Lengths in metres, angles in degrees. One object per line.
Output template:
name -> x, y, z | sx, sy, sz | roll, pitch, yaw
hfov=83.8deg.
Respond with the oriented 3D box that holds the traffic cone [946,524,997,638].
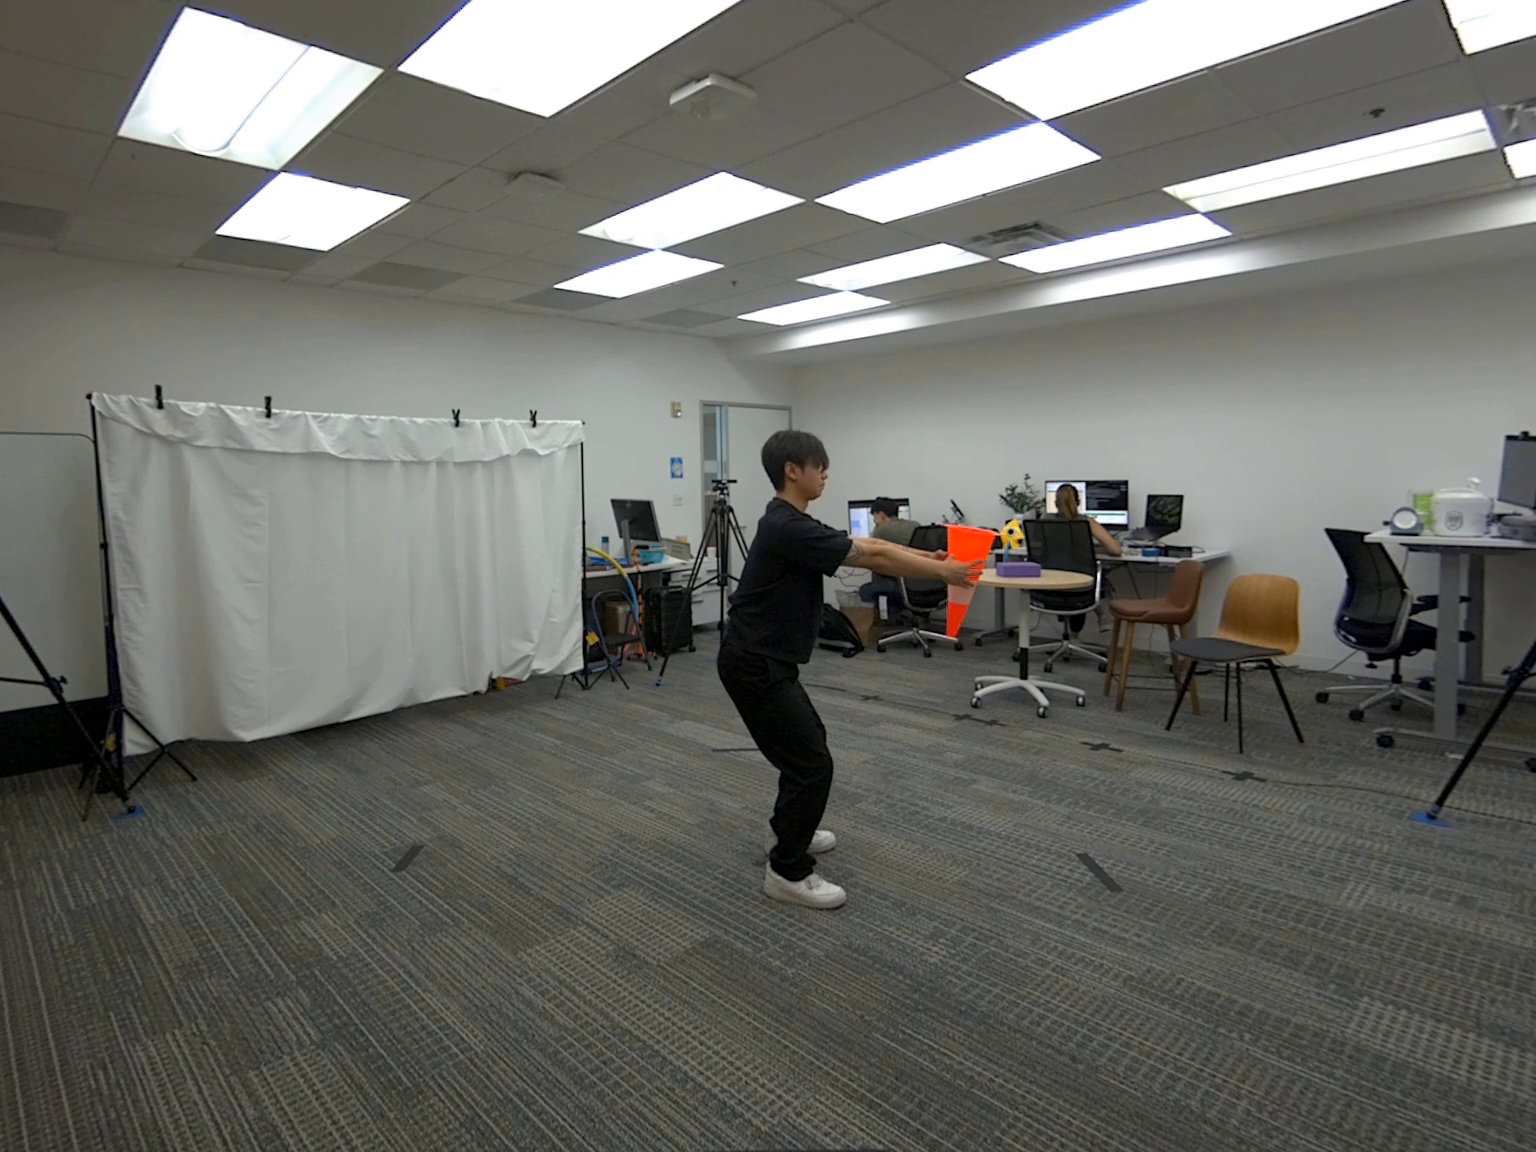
traffic cone -> 0.669, 0.032, 2.923 | 0.200, 0.382, 0.209 | 8, 5, -16
